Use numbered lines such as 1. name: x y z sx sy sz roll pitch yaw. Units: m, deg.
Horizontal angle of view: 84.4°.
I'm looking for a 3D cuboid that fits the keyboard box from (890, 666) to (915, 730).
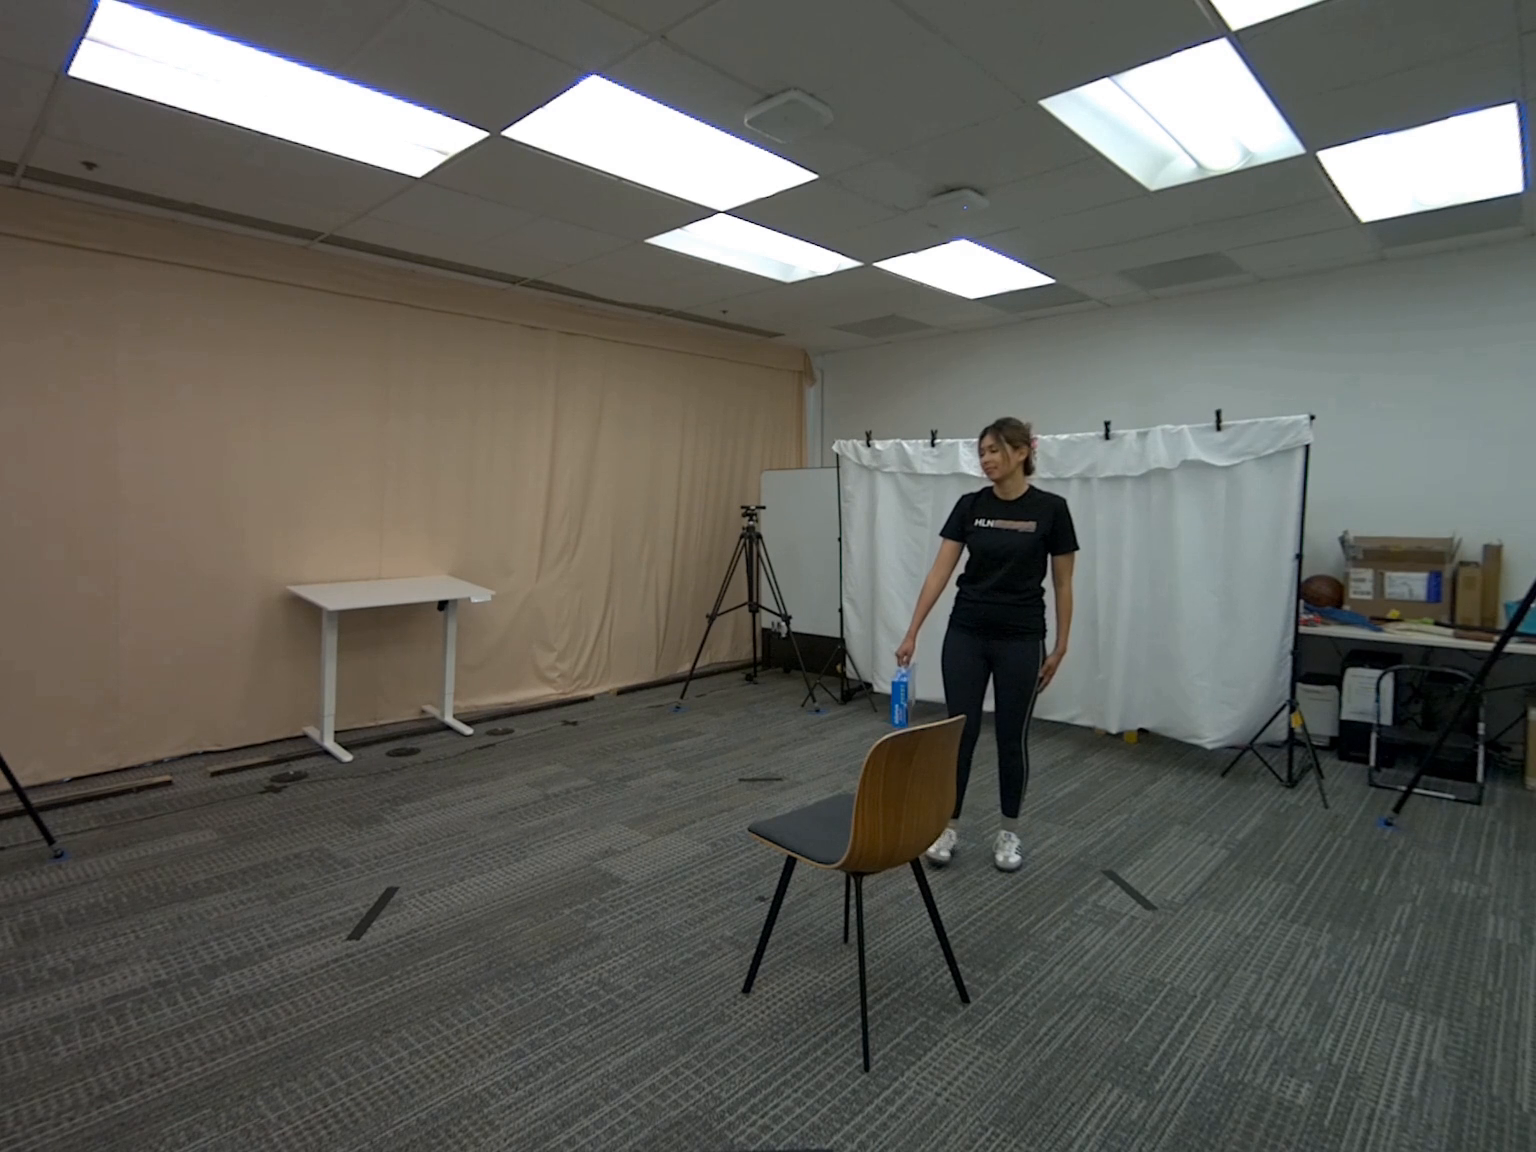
1. keyboard box: 0.541 0.462 3.324 0.060 0.175 0.431 0 4 11
